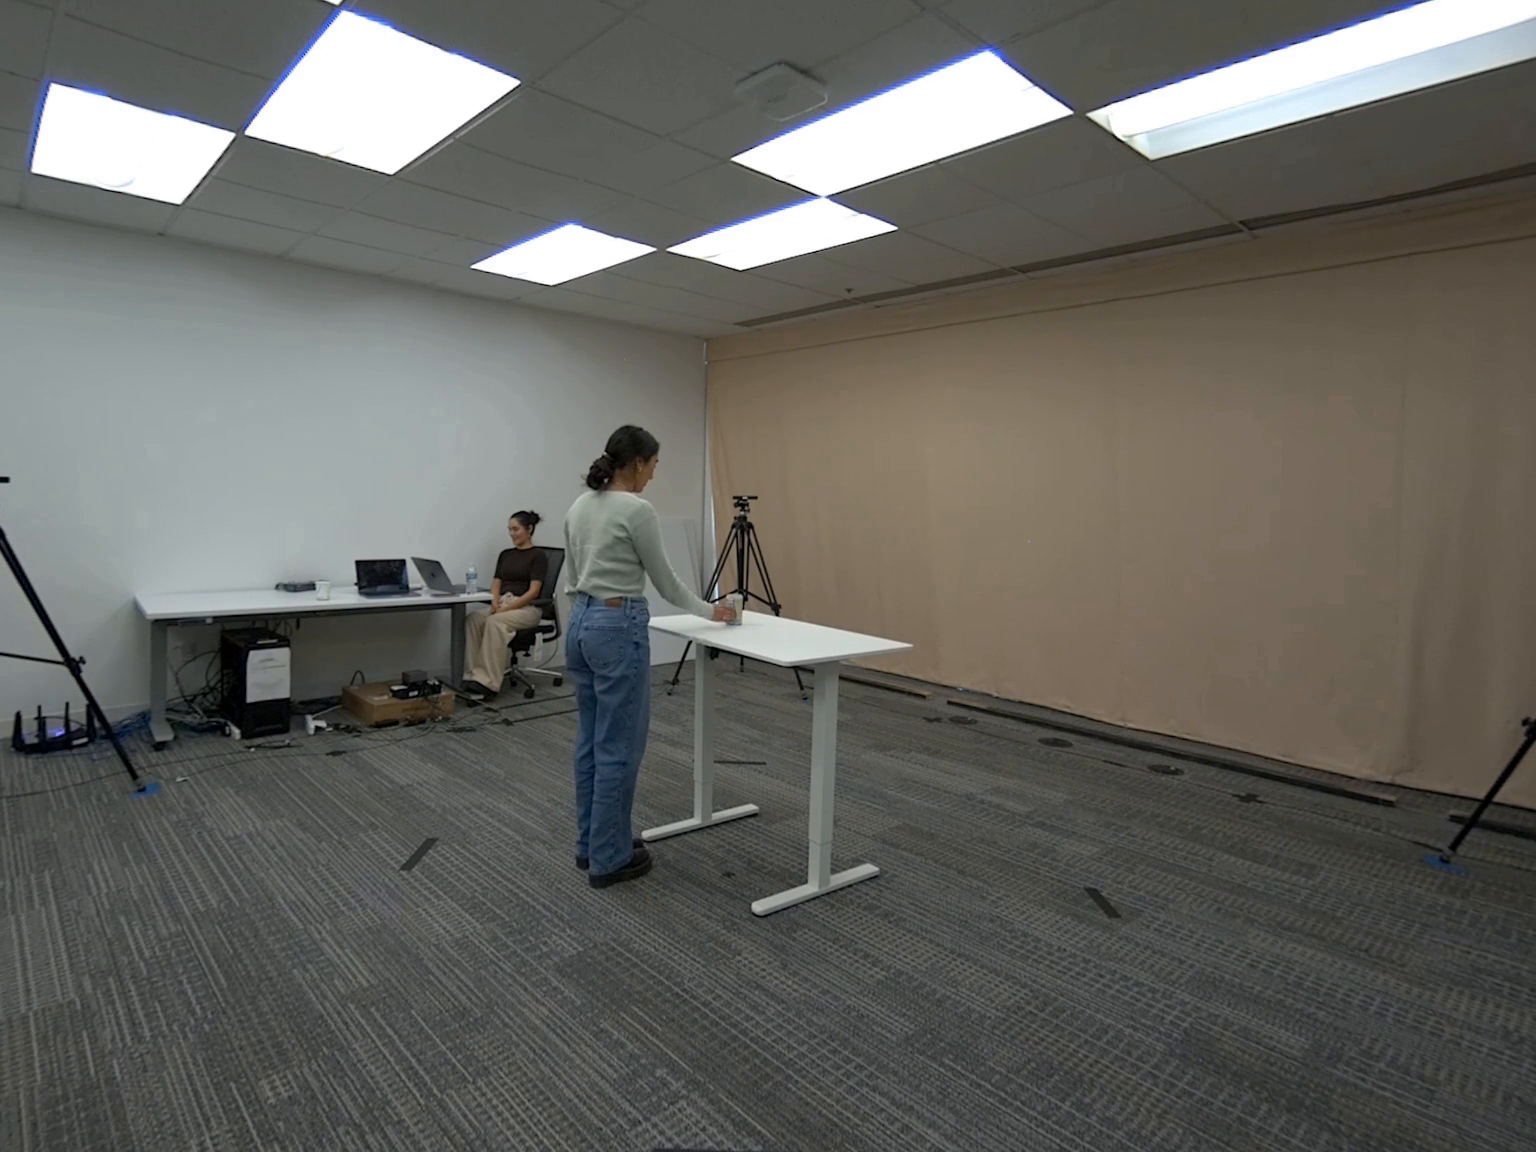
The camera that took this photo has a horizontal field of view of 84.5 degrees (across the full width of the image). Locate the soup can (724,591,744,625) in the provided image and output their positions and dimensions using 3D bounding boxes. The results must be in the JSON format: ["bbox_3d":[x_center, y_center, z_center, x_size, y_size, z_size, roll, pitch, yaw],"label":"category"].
[{"bbox_3d":[-0.145,0.137,3.365,0.067,0.121,0.067,0,3,-1],"label":"soup can"}]
